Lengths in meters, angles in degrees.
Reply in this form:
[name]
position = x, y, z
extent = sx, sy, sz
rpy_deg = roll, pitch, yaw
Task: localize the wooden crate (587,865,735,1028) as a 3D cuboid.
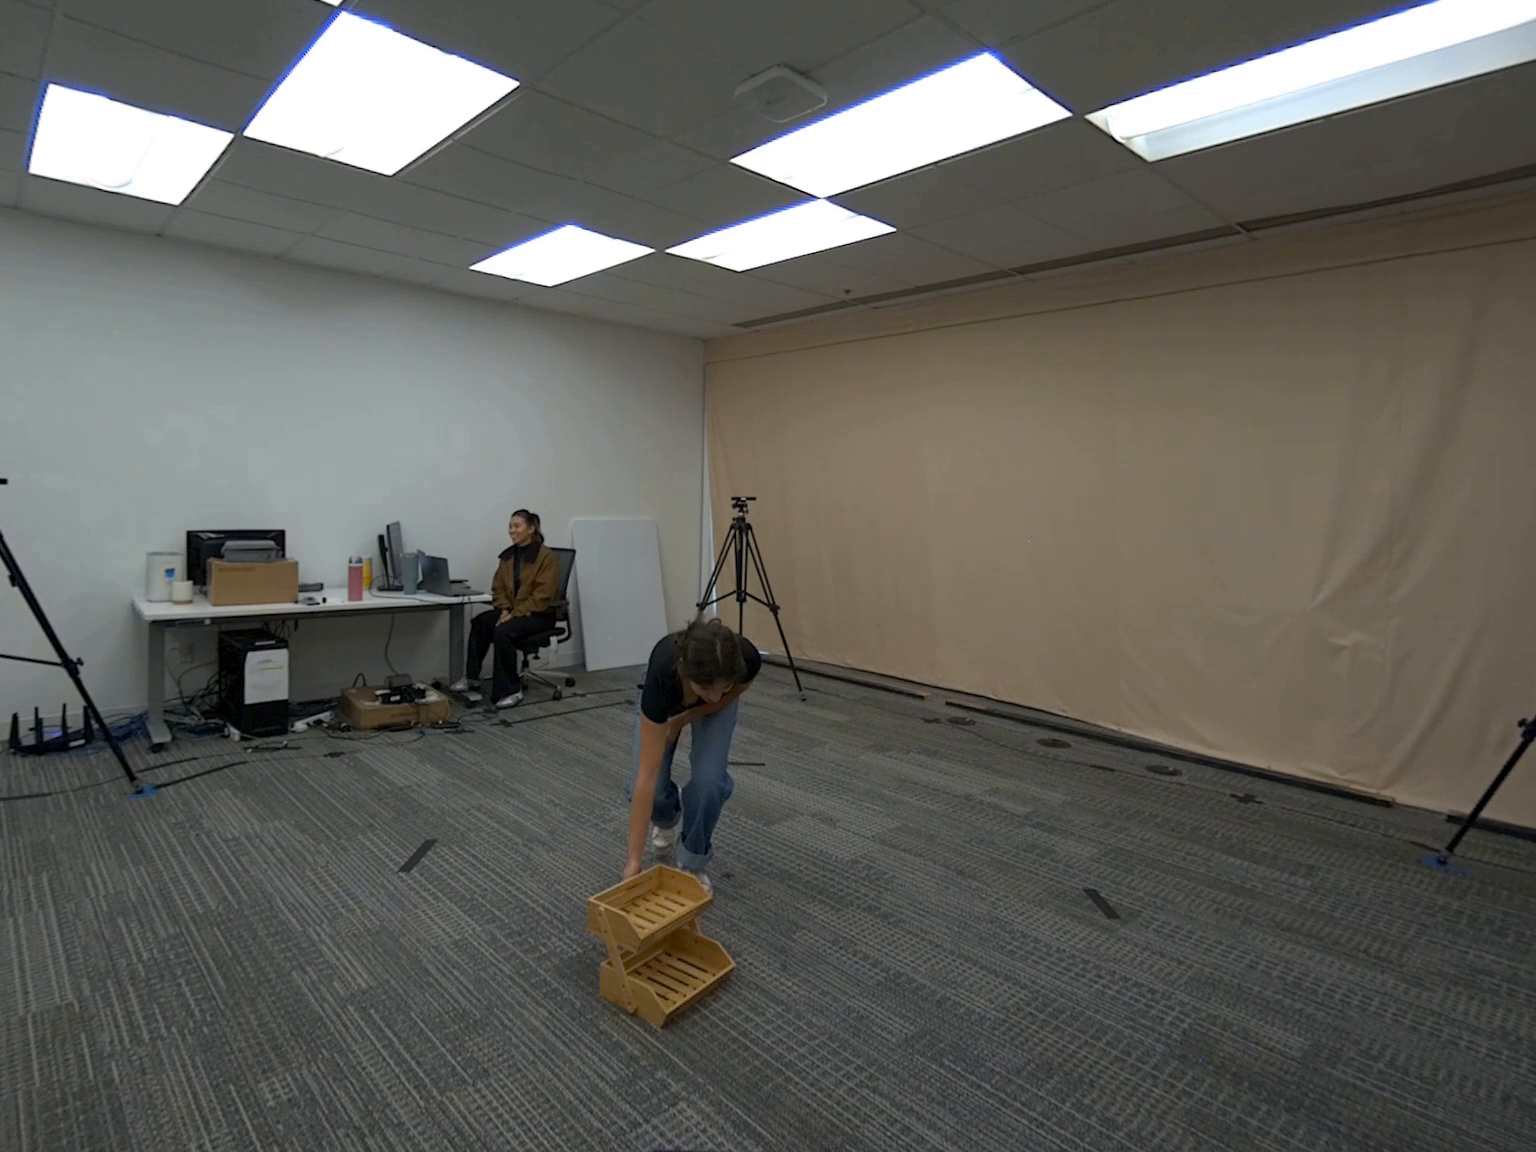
[wooden crate]
position = -0.306, 1.044, 2.388
extent = 0.309, 0.273, 0.318
rpy_deg = 3, 5, 35
